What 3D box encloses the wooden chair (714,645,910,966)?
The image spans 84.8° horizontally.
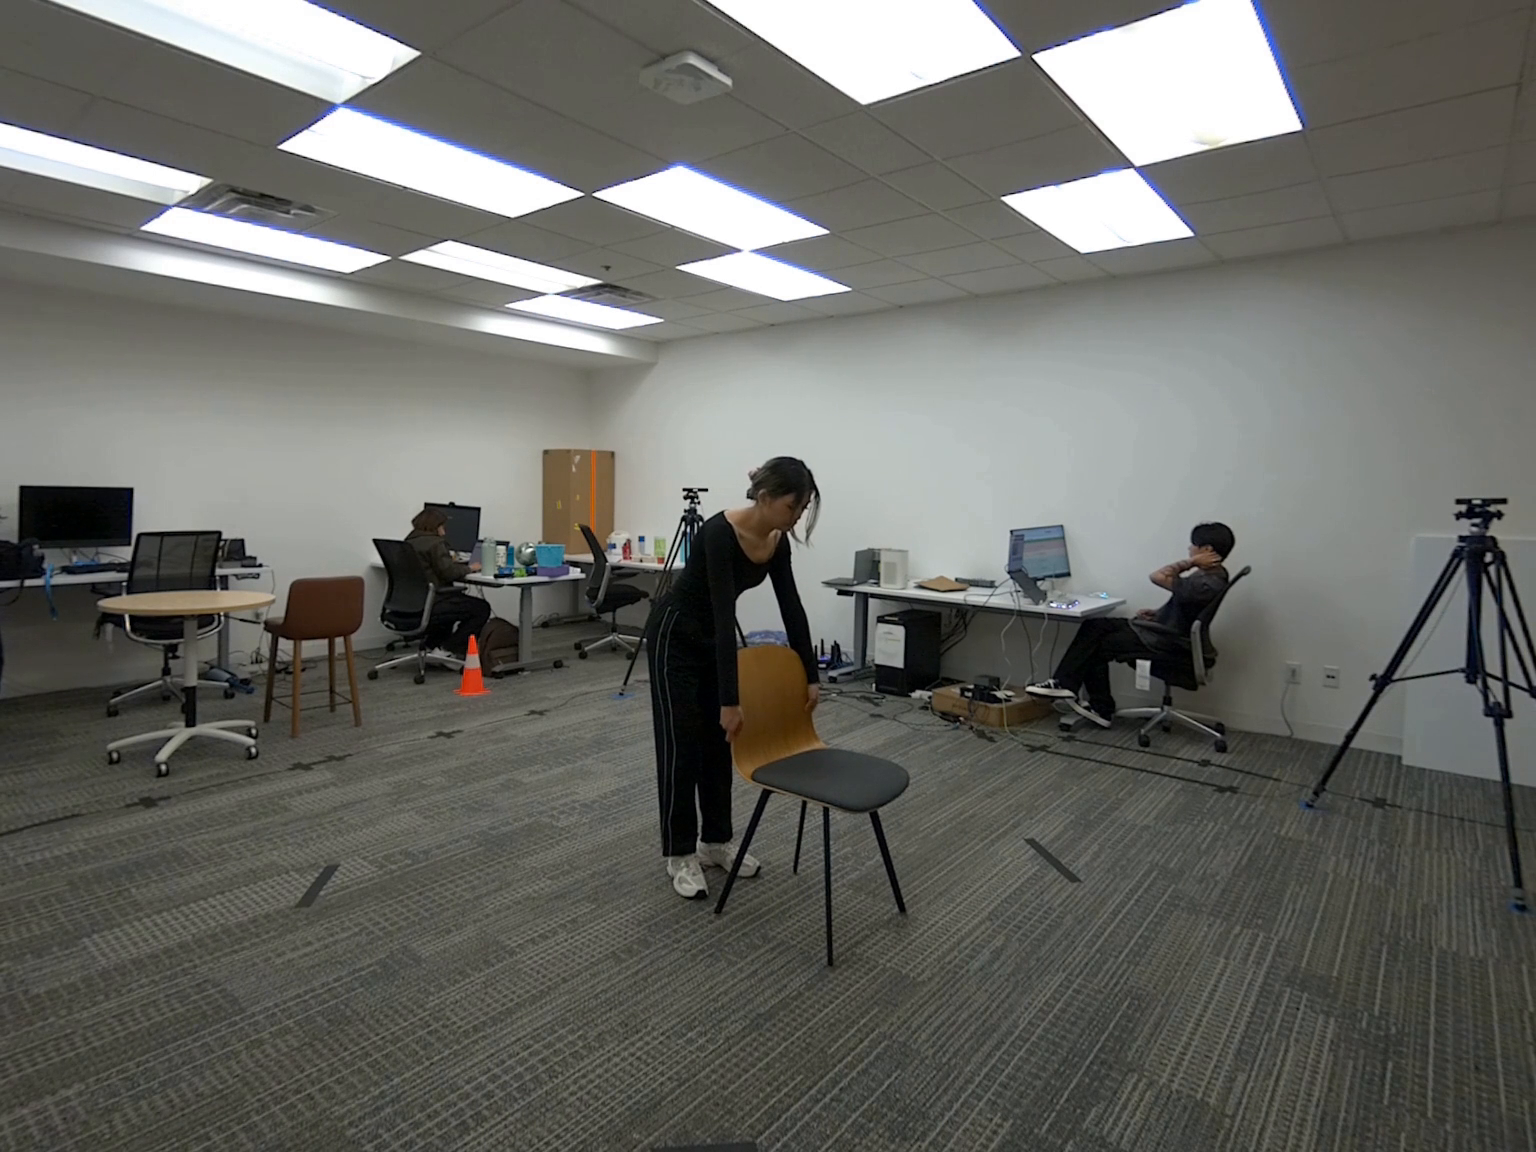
[{"bbox_3d":[0.158,0.682,2.768,0.539,0.878,0.463,-2,0,39],"label":"wooden chair"}]
